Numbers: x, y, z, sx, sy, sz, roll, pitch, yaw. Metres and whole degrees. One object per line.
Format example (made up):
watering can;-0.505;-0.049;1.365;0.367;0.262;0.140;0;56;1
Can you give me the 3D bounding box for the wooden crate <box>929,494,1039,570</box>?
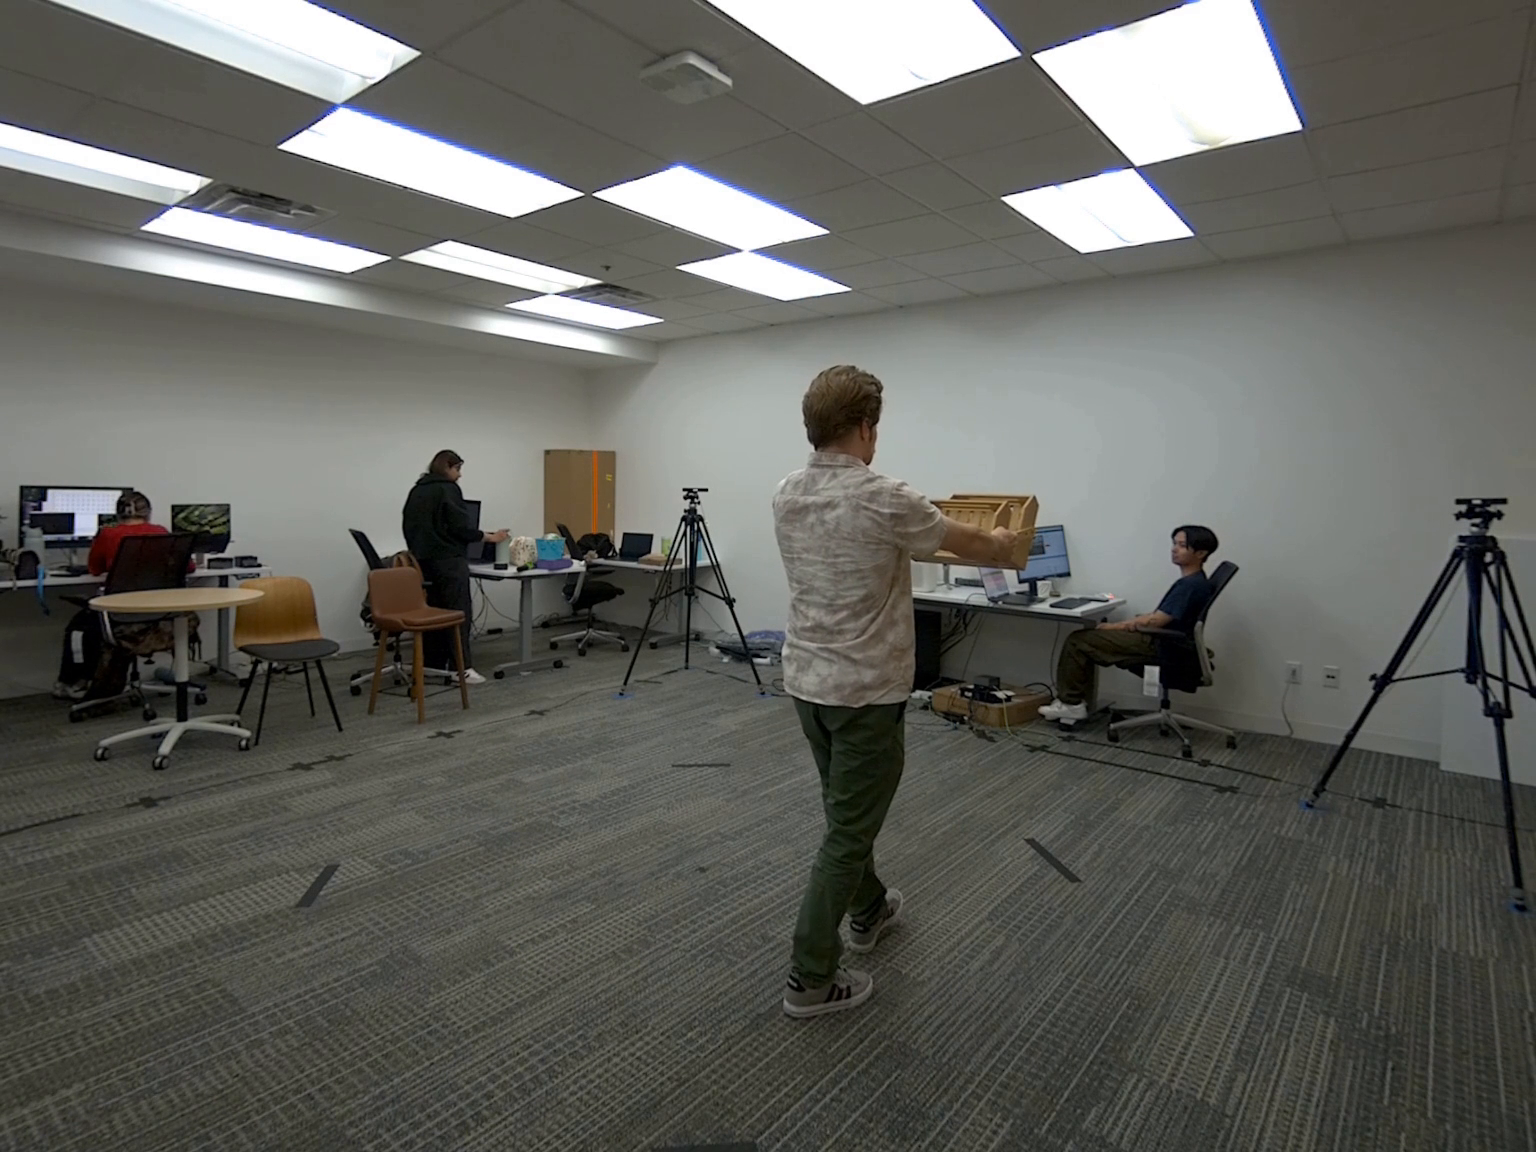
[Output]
wooden crate;0.669;-0.169;2.803;0.335;0.304;0.262;5;-16;44
